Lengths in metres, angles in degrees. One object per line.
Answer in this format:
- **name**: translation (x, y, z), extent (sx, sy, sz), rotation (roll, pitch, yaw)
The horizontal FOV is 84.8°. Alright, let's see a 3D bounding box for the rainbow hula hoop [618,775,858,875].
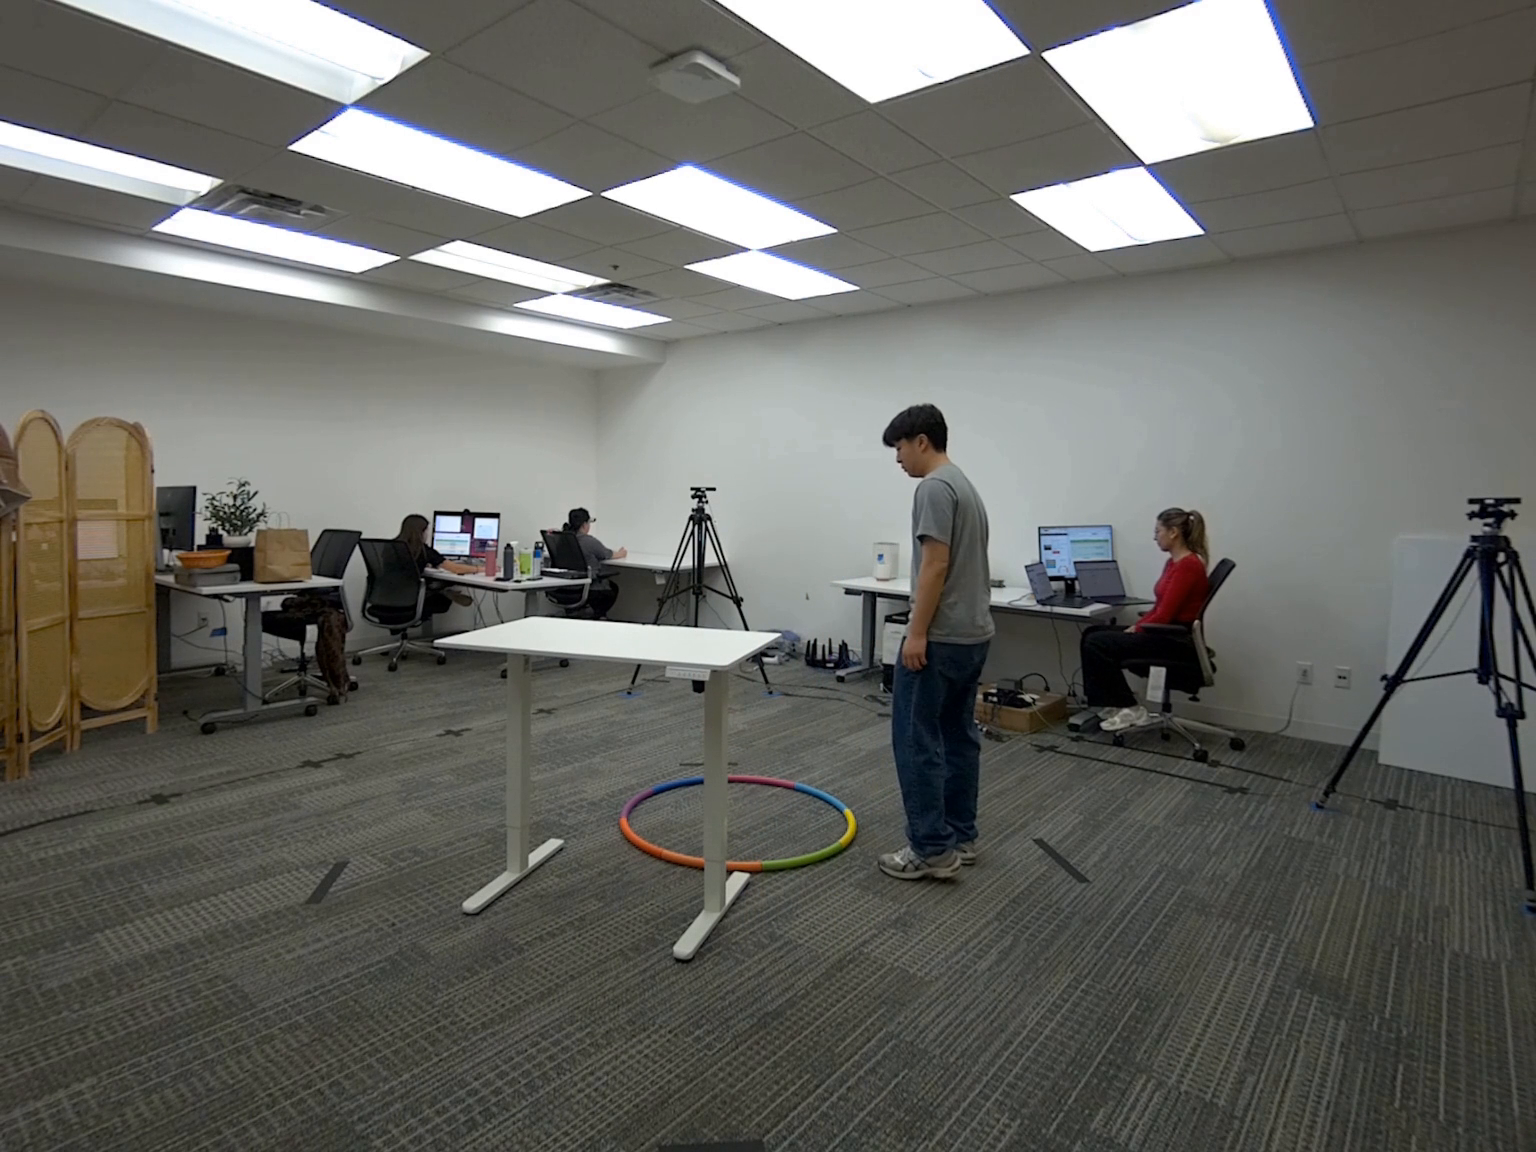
- **rainbow hula hoop**: translation (-0.133, 0.993, 3.549), extent (0.978, 0.035, 0.984), rotation (1, 6, -2)
